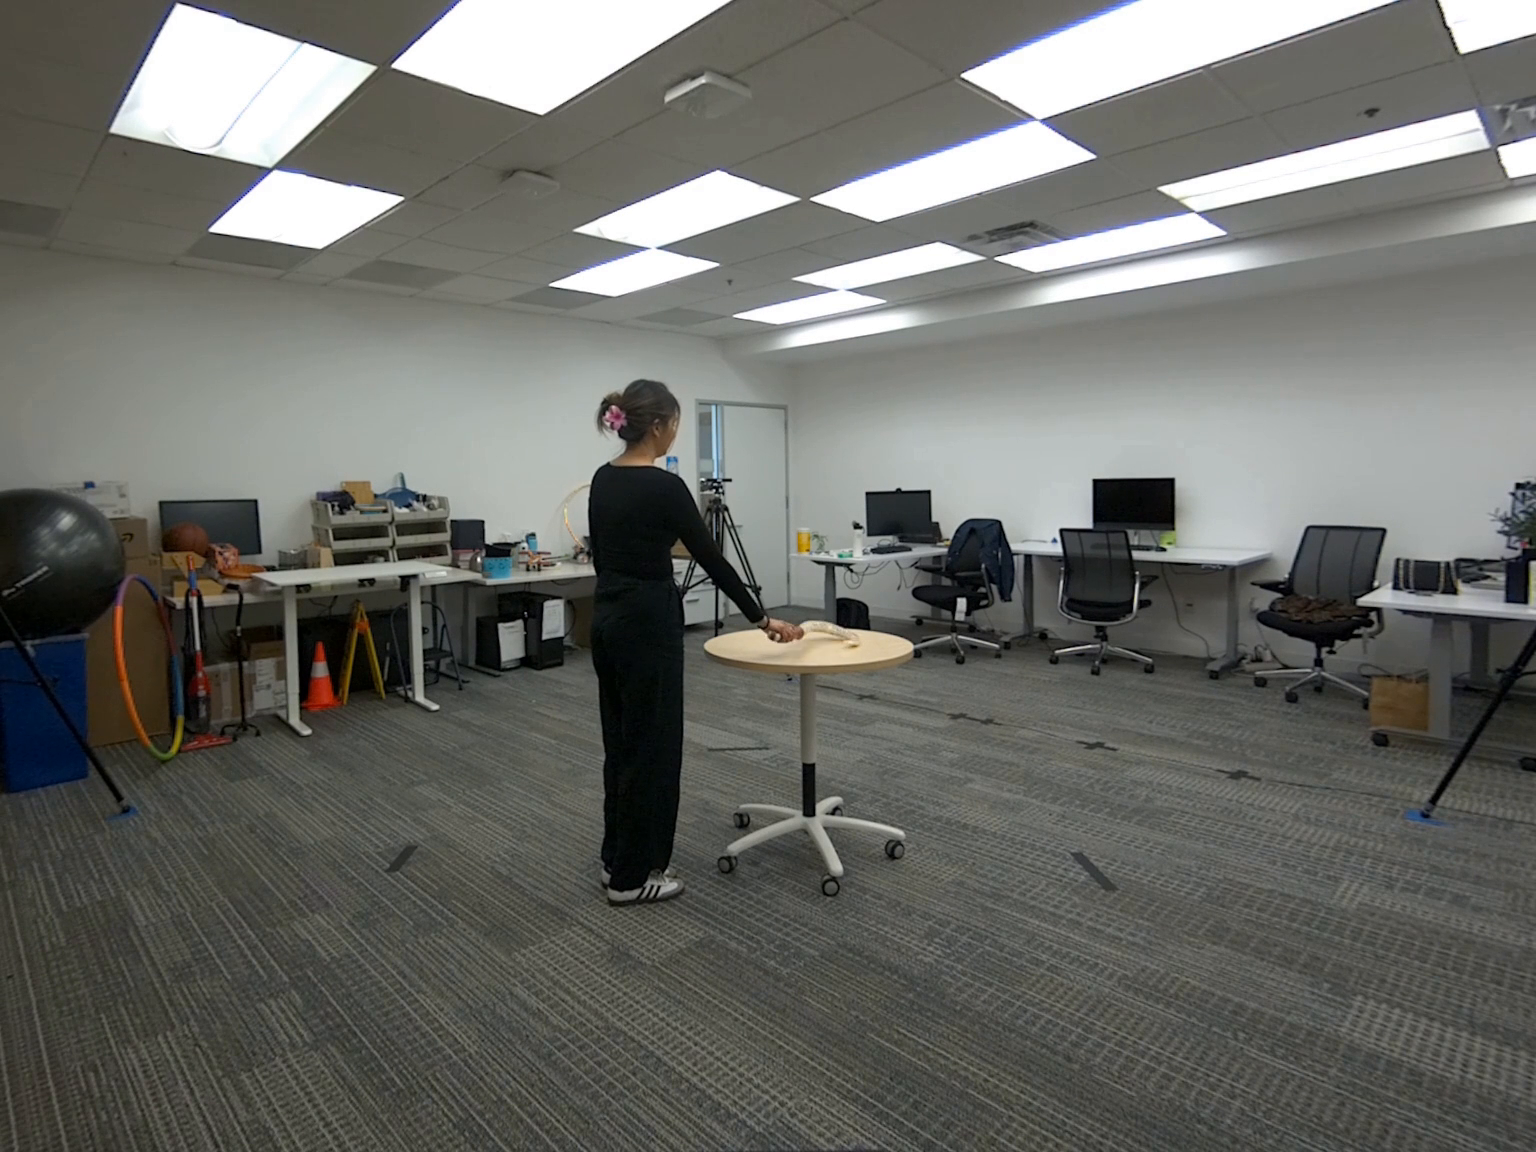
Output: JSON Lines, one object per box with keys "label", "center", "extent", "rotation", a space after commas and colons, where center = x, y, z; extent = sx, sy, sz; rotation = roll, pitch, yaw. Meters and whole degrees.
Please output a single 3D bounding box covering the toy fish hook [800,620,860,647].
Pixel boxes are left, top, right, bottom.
{"label": "toy fish hook", "center": [0.203, 0.209, 3.042], "extent": [0.231, 0.048, 0.494], "rotation": [9, 5, 27]}
